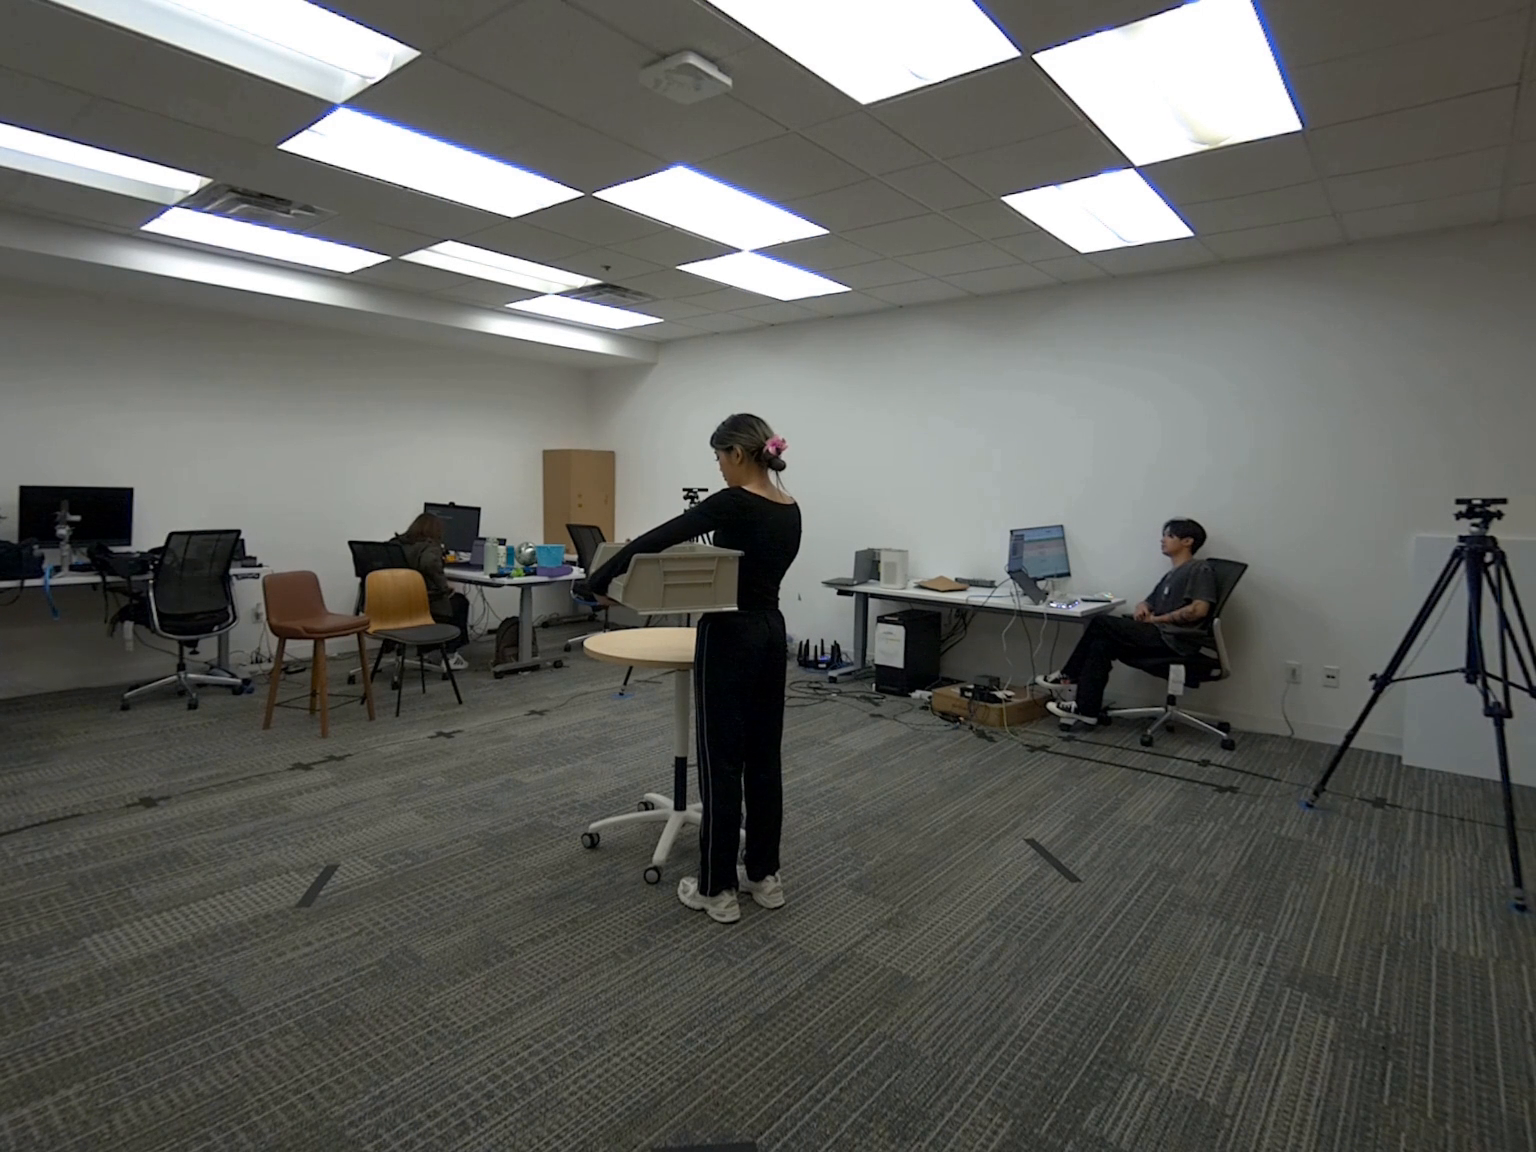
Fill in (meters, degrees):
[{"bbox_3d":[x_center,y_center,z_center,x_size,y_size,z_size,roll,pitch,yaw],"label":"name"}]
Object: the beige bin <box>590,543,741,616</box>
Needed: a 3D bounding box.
[{"bbox_3d":[-0.352,0.002,2.690,0.369,0.188,0.434,-1,6,-23],"label":"beige bin"}]
